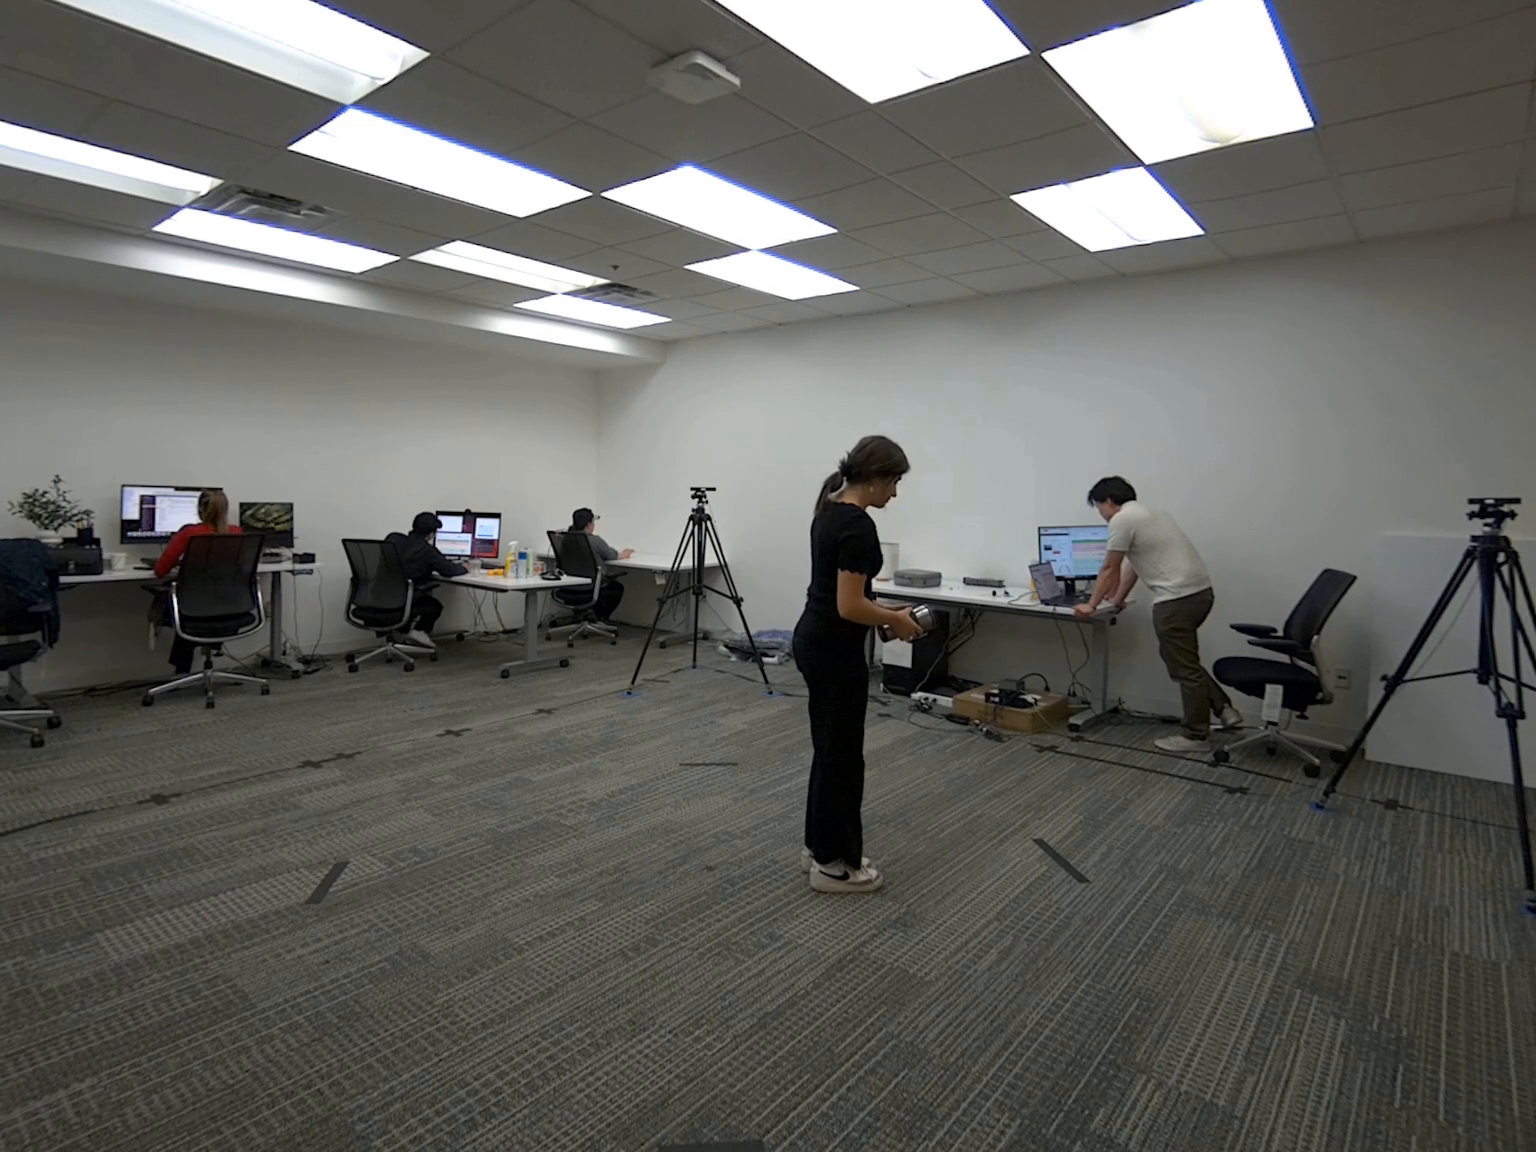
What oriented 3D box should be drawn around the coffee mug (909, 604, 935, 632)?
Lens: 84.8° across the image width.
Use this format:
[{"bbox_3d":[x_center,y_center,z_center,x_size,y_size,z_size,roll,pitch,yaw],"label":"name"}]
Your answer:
[{"bbox_3d":[0.482,0.185,2.988,0.201,0.118,0.091,-18,41,-10],"label":"coffee mug"}]
